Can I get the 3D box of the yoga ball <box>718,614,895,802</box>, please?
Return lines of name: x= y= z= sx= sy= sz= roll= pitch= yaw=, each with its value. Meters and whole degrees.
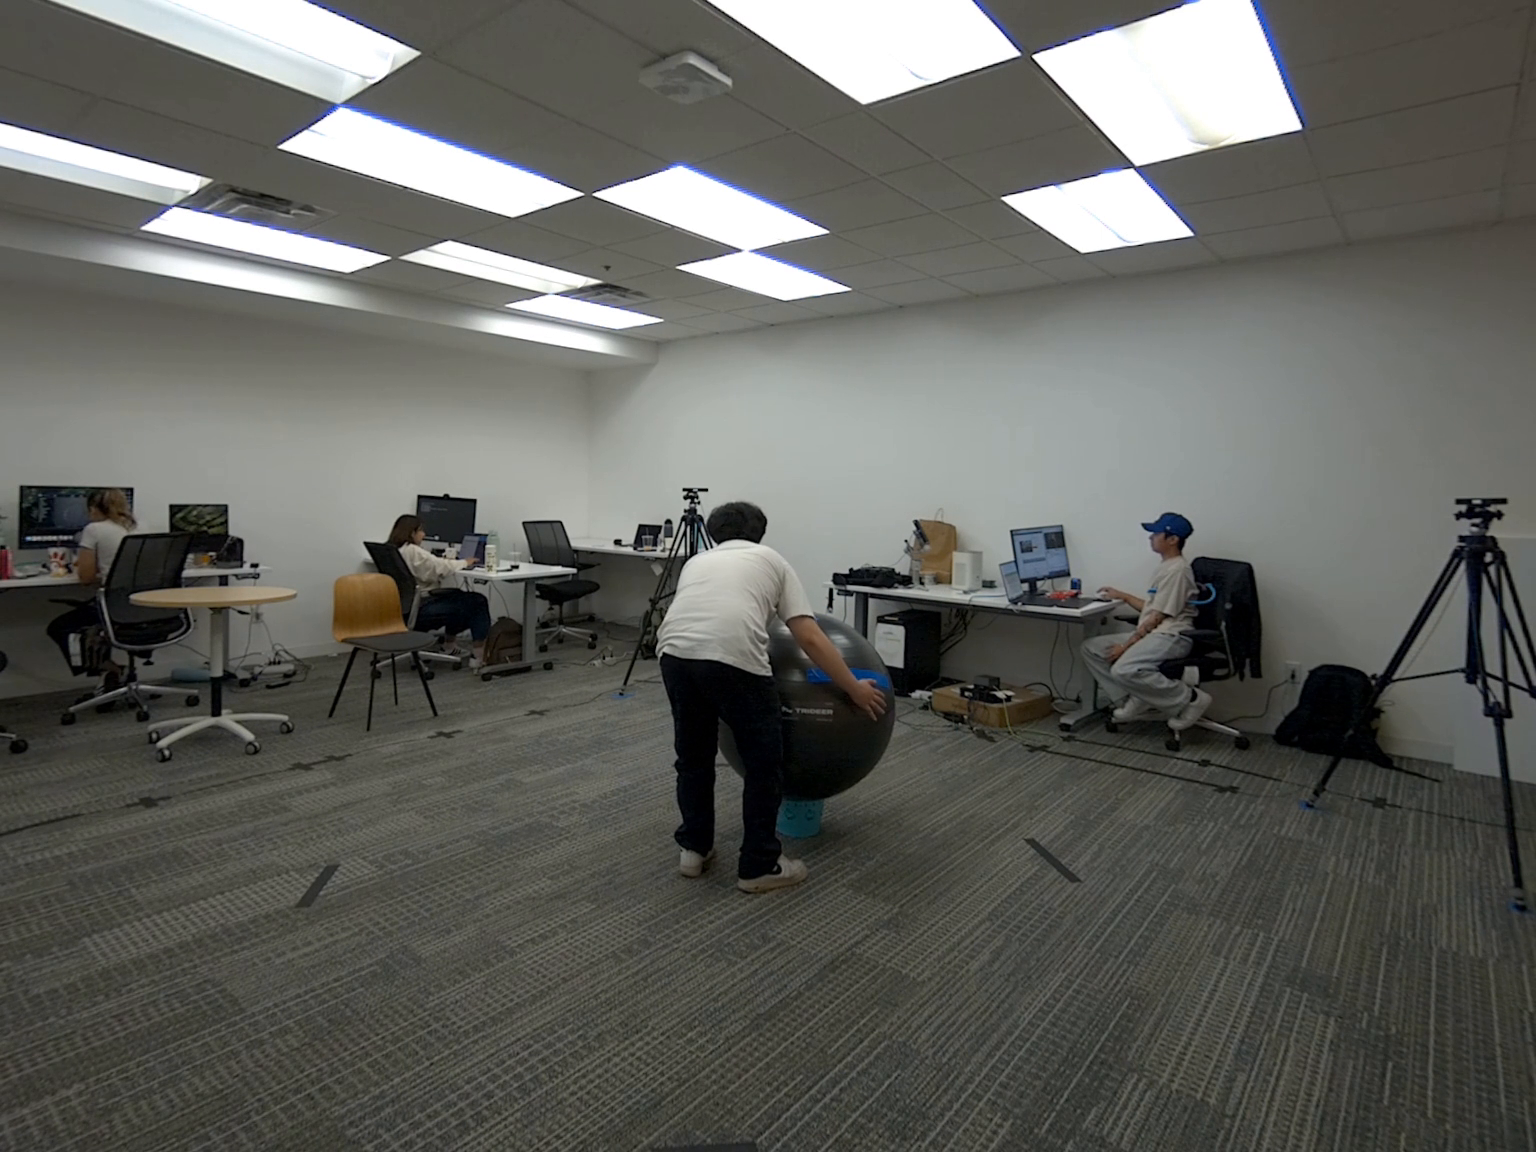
yoga ball: x=0.130 y=0.526 z=3.489 sx=0.757 sy=0.755 sz=0.762 roll=1 pitch=4 yaw=-2
